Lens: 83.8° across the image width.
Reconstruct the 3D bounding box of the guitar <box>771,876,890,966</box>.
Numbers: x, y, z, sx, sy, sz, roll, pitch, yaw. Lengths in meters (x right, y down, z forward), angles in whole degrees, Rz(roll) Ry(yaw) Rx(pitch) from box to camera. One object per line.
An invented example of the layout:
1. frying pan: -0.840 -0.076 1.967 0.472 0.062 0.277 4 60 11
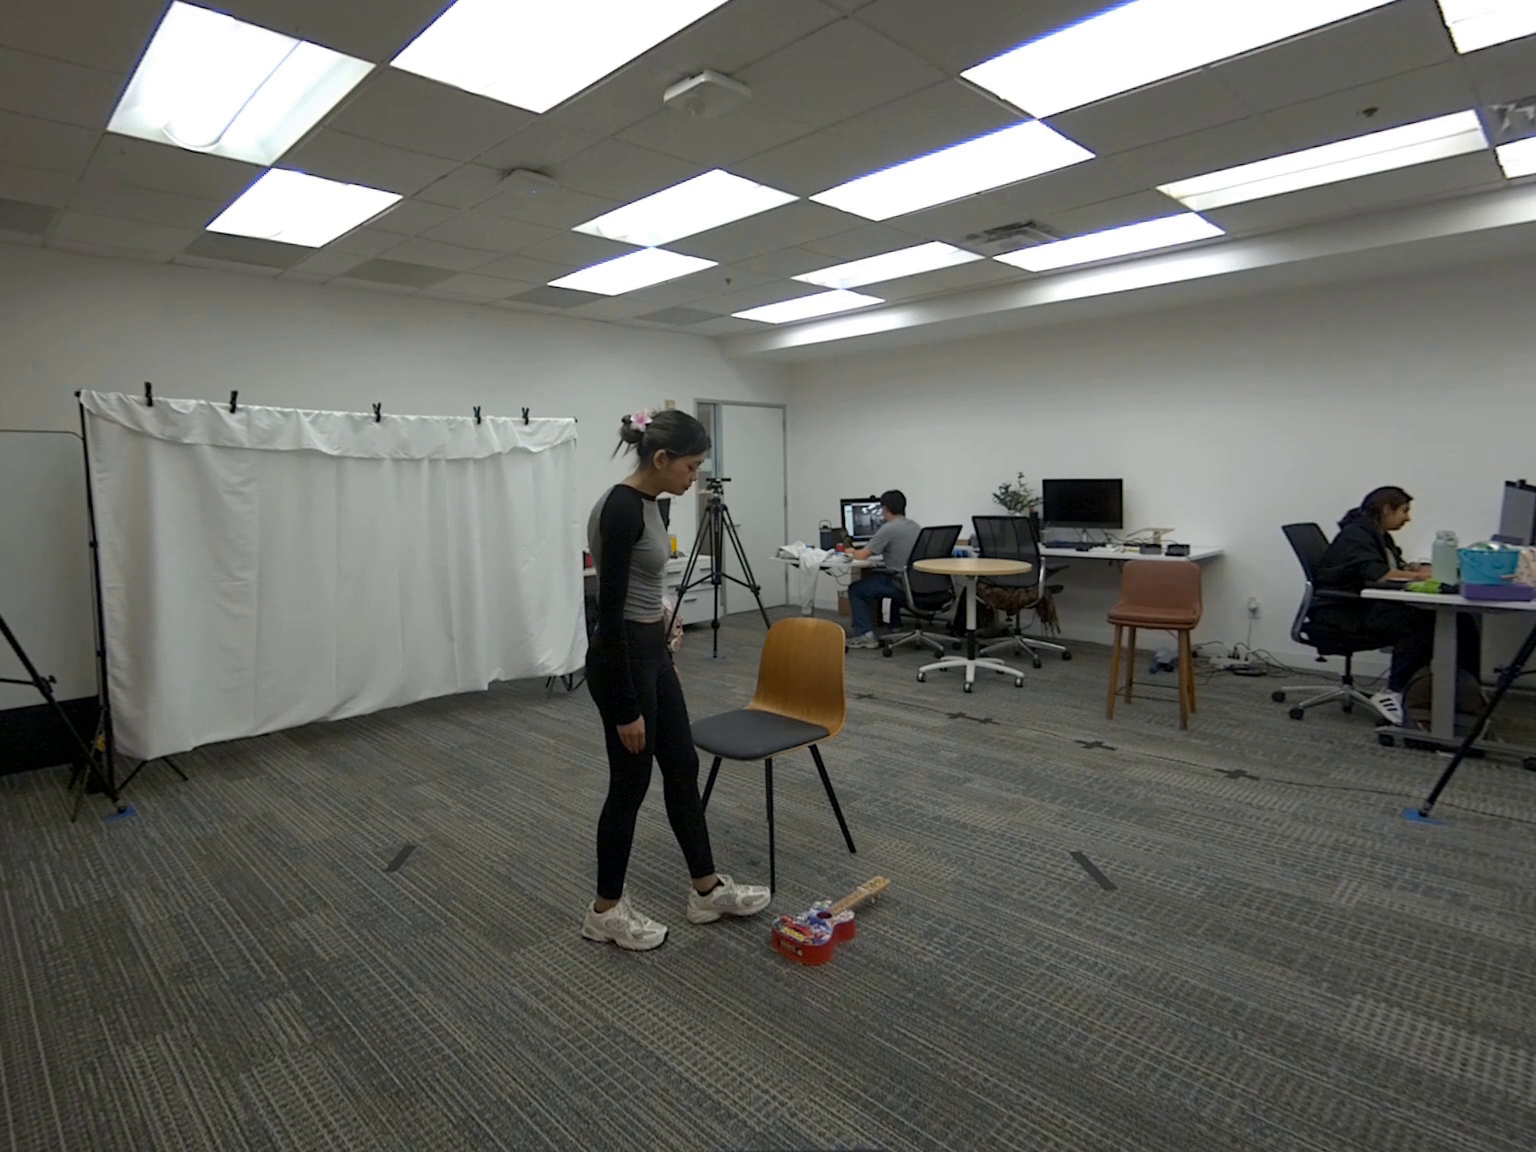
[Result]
1. guitar: 0.237 1.053 2.642 0.485 0.070 0.199 -7 9 -37
